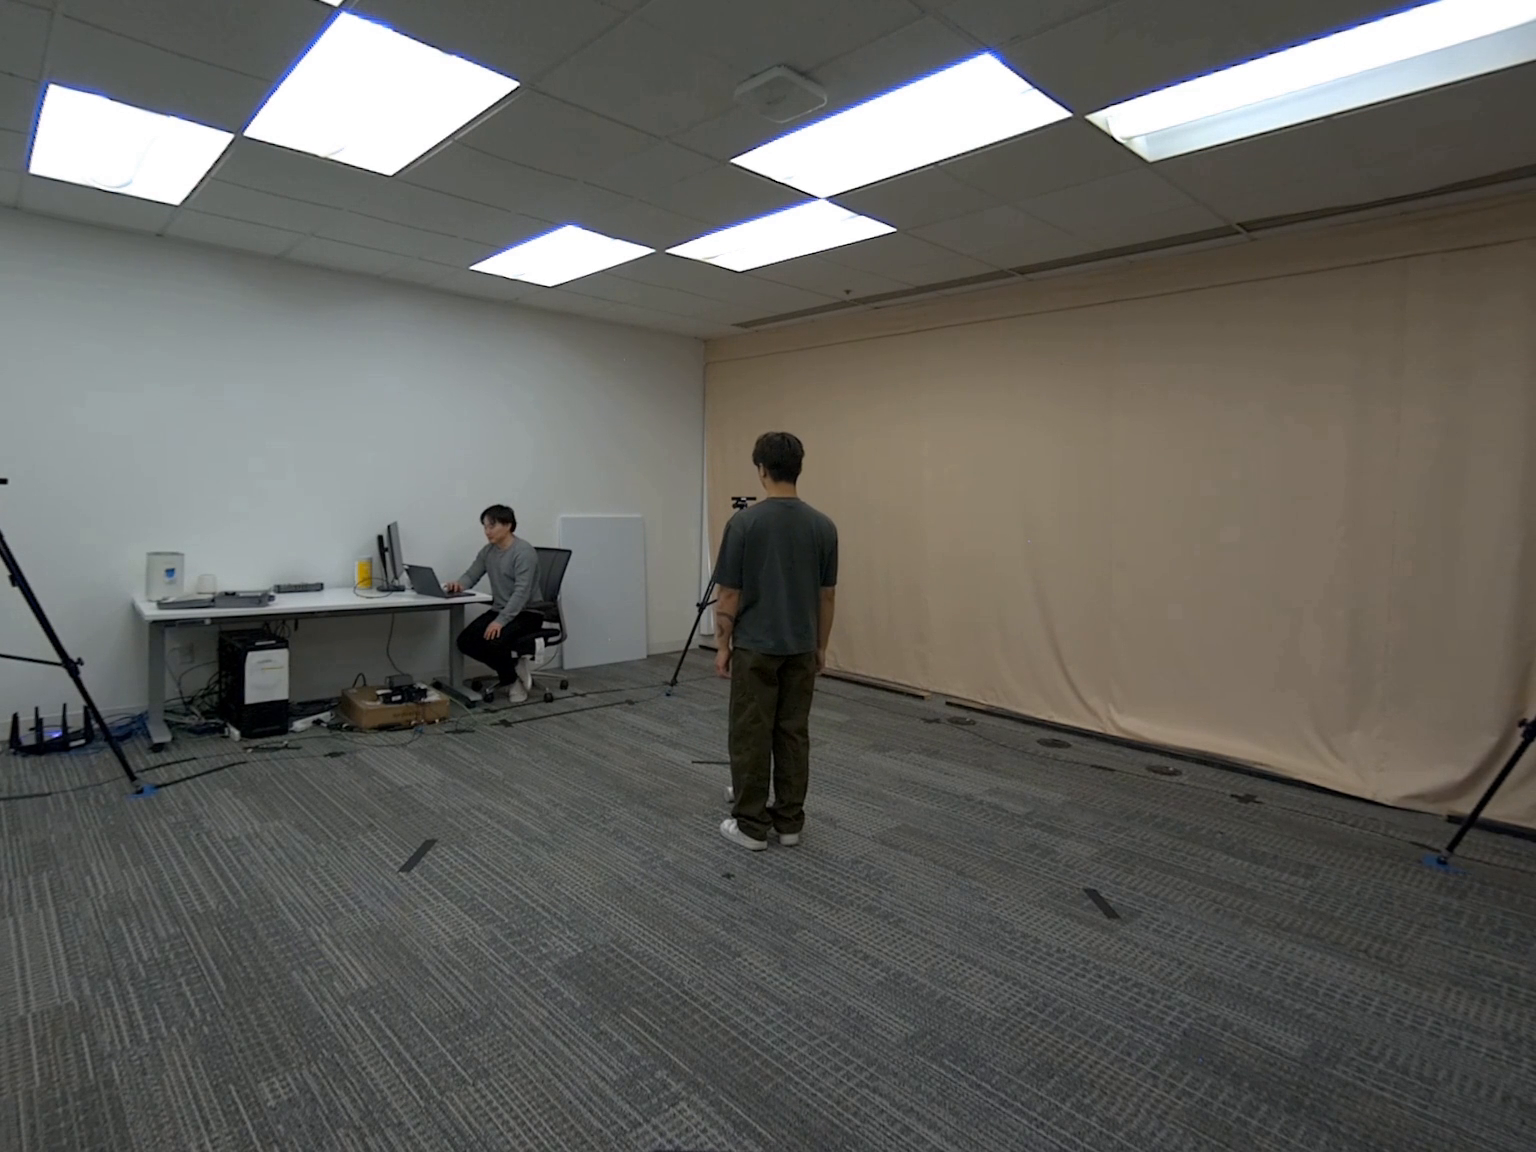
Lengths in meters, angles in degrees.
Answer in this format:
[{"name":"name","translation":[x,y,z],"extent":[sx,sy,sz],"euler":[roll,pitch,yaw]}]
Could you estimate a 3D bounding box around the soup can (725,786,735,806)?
[{"name":"soup can","translation":[-0.140,1.007,3.892],"extent":[0.119,0.067,0.068],"euler":[3,3,-20]}]
